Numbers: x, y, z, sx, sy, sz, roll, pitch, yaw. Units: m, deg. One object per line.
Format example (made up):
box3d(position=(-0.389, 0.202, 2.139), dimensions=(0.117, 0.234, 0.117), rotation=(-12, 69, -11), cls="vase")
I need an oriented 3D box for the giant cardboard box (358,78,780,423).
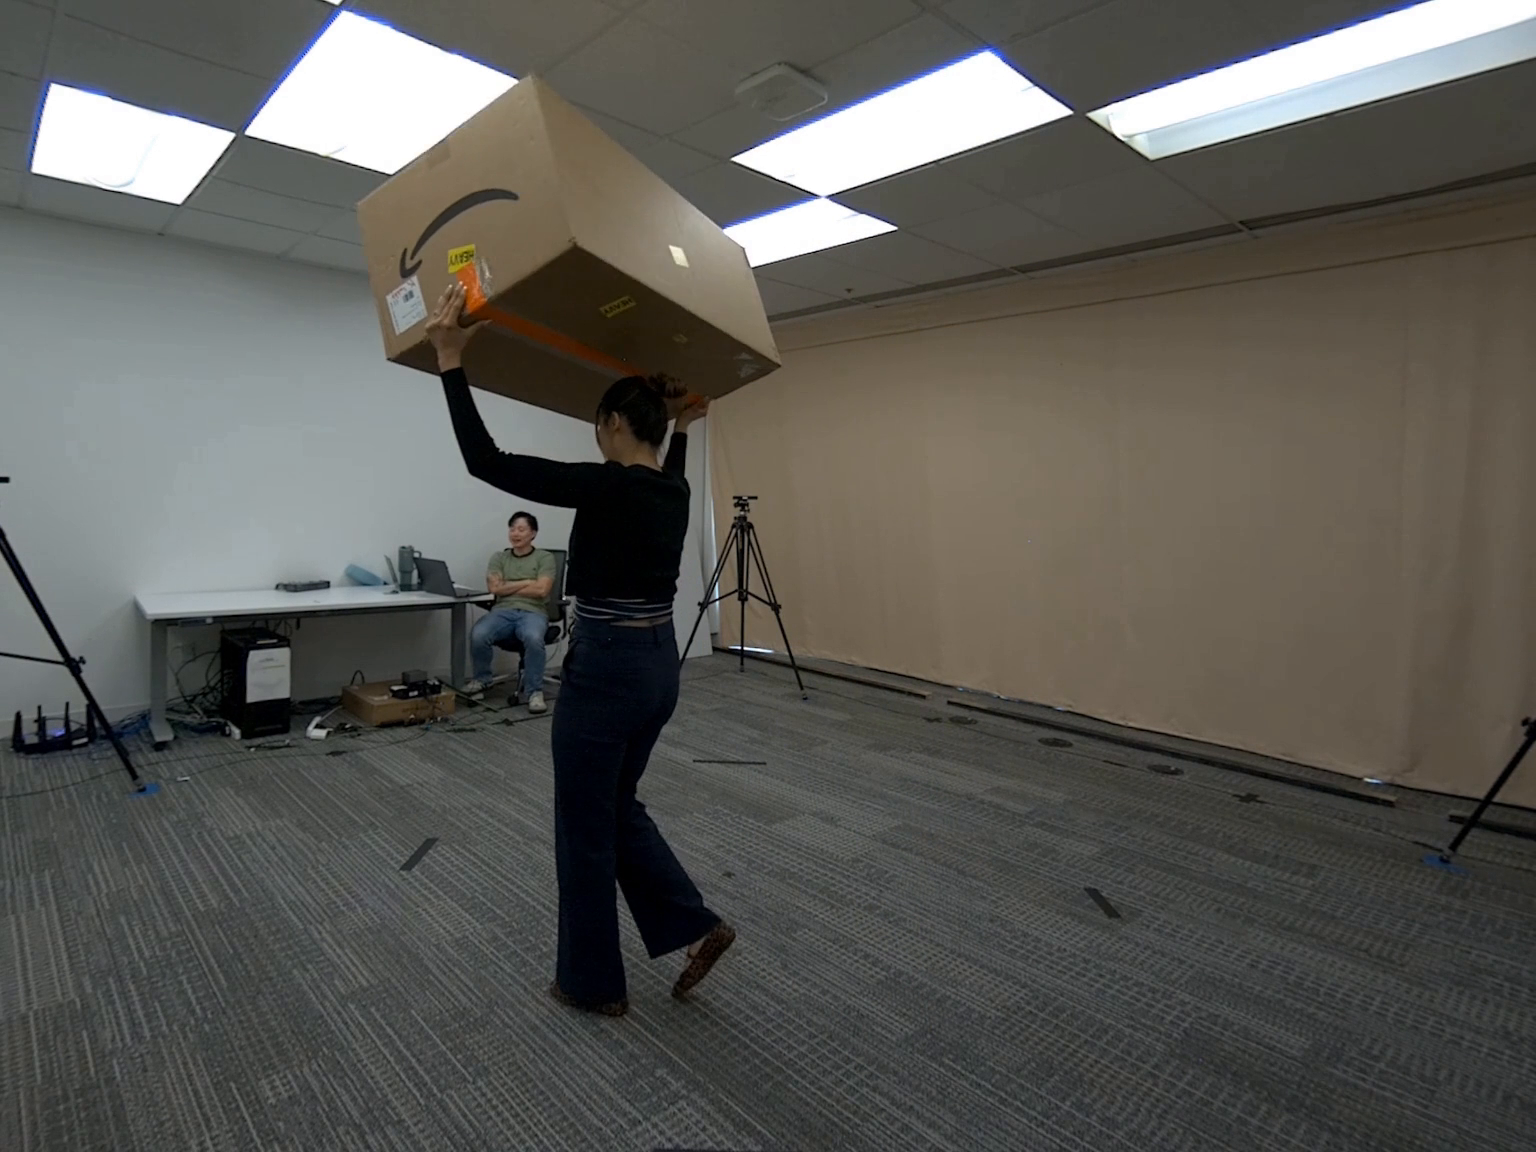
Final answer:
box3d(position=(-0.474, -0.761, 2.308), dimensions=(0.584, 0.430, 1.004), rotation=(-20, -10, 24), cls="giant cardboard box")
